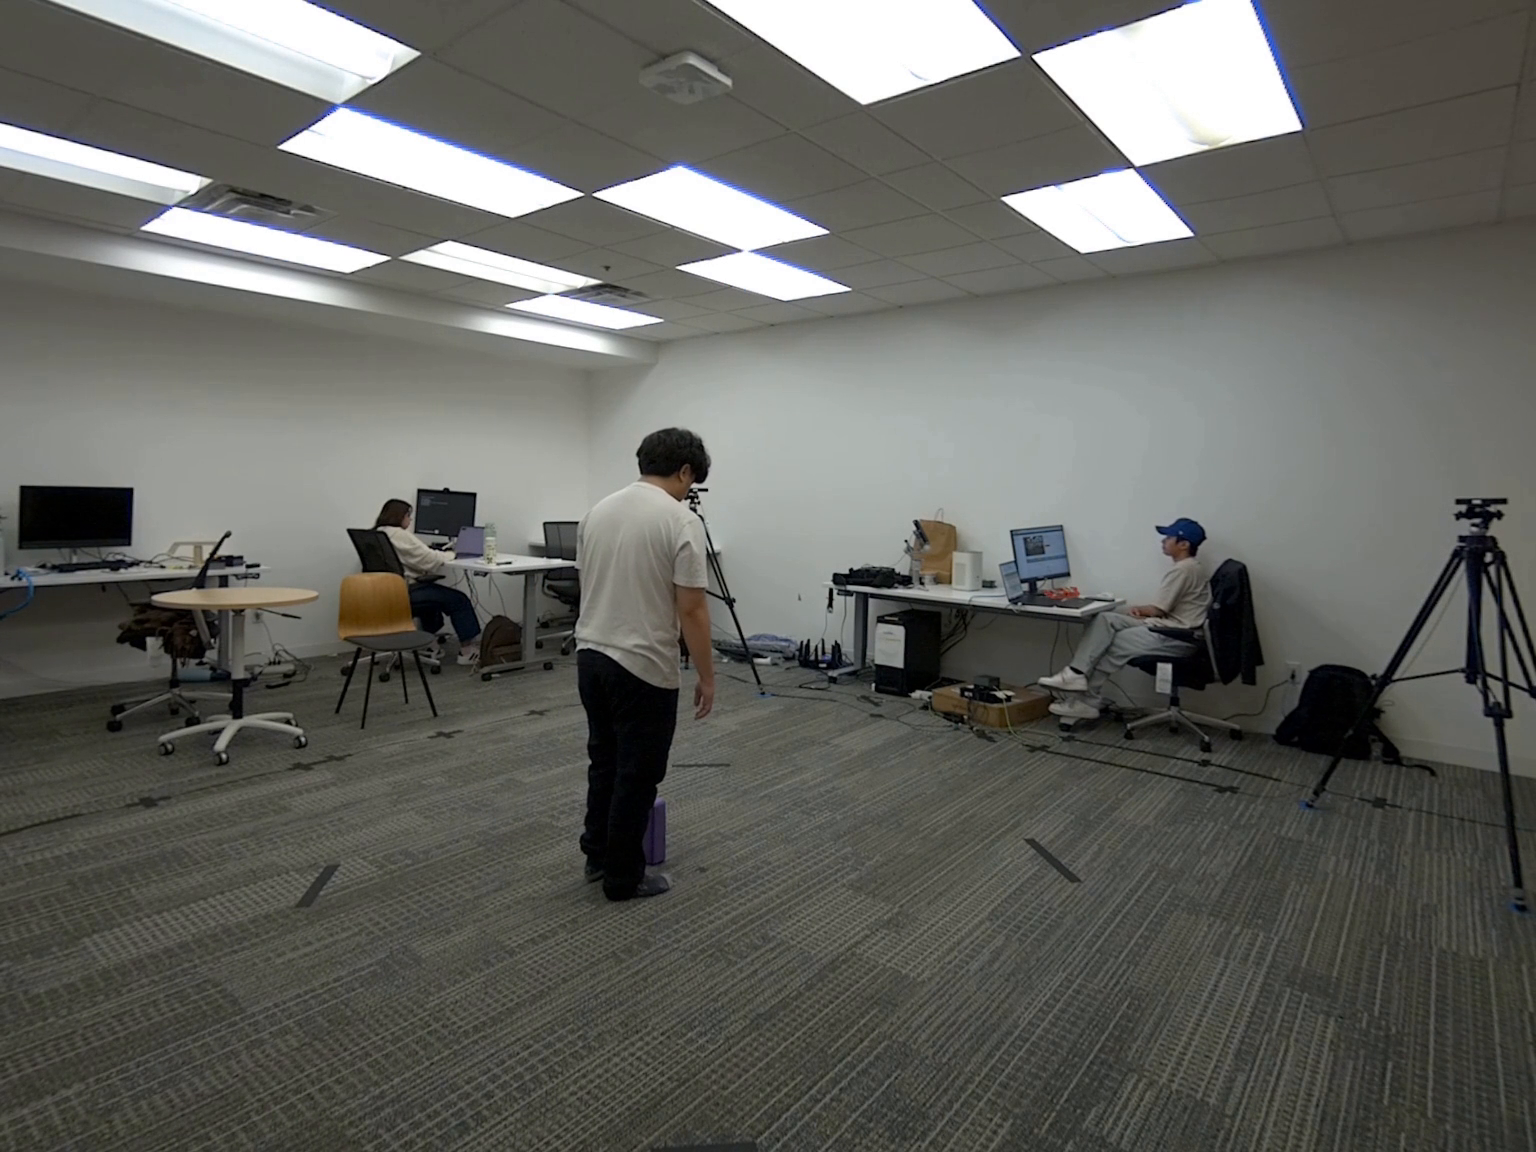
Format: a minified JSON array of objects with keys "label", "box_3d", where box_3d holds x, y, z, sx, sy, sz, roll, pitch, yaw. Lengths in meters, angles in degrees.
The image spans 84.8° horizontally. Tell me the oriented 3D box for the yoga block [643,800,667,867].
[{"label":"yoga block","box_3d":[-0.463,0.939,3.194,0.154,0.229,0.074,1,1,40]}]
